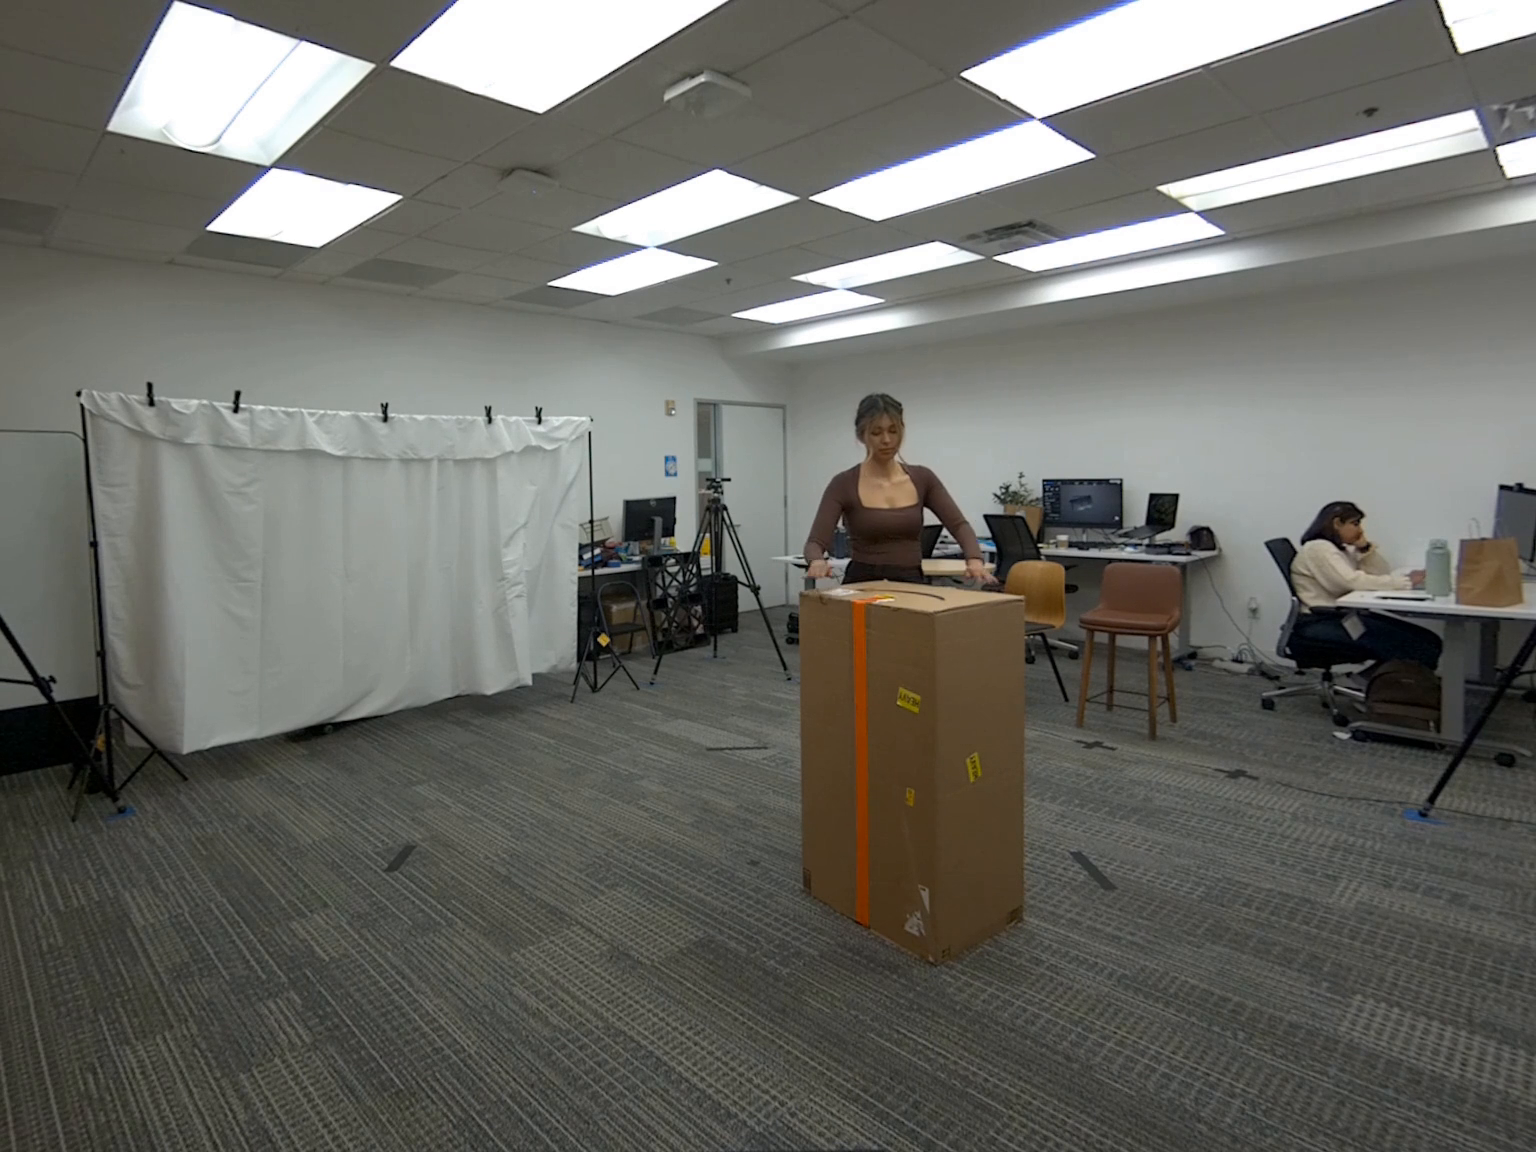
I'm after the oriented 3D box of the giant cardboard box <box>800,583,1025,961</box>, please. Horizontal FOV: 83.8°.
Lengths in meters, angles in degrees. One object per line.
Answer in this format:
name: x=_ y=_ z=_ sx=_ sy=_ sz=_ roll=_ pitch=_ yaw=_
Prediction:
giant cardboard box: x=0.449 y=0.564 z=2.744 sx=0.435 sy=1.023 sz=0.601 roll=-5 pitch=5 yaw=-36
